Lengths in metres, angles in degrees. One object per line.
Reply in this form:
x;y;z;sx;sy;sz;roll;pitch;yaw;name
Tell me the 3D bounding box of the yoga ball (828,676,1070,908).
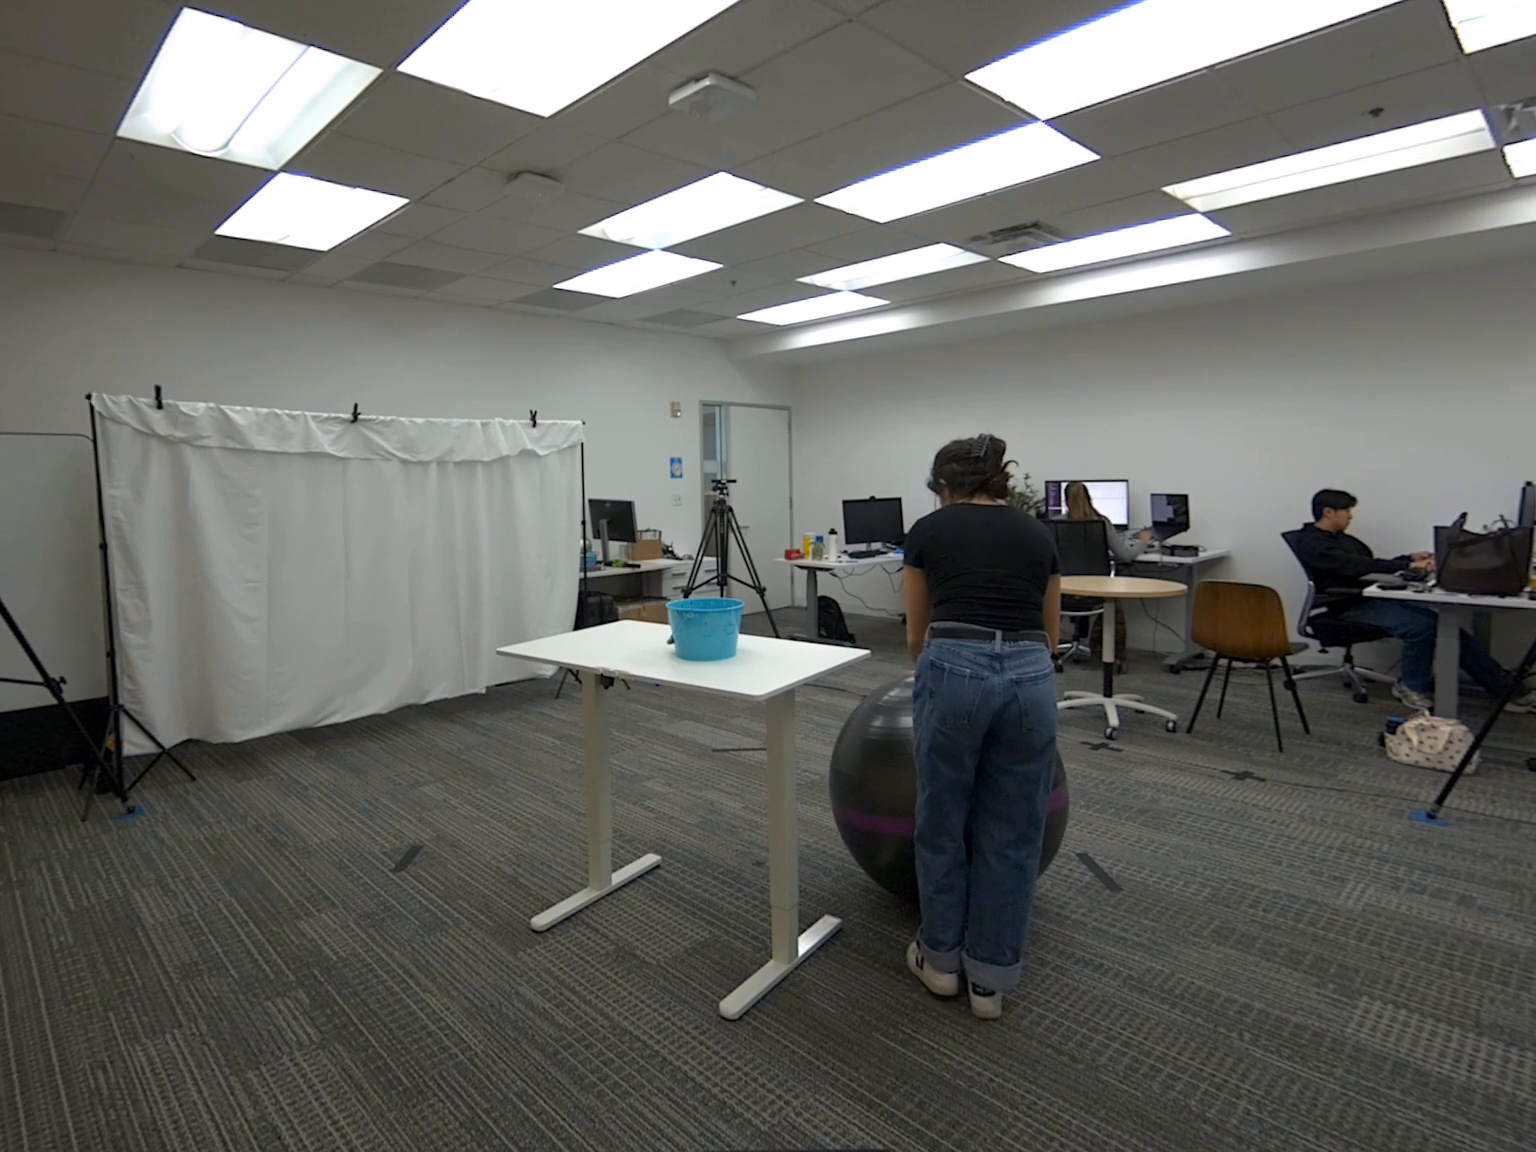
0.609;0.715;2.815;0.757;0.755;0.762;-1;5;-2;yoga ball
